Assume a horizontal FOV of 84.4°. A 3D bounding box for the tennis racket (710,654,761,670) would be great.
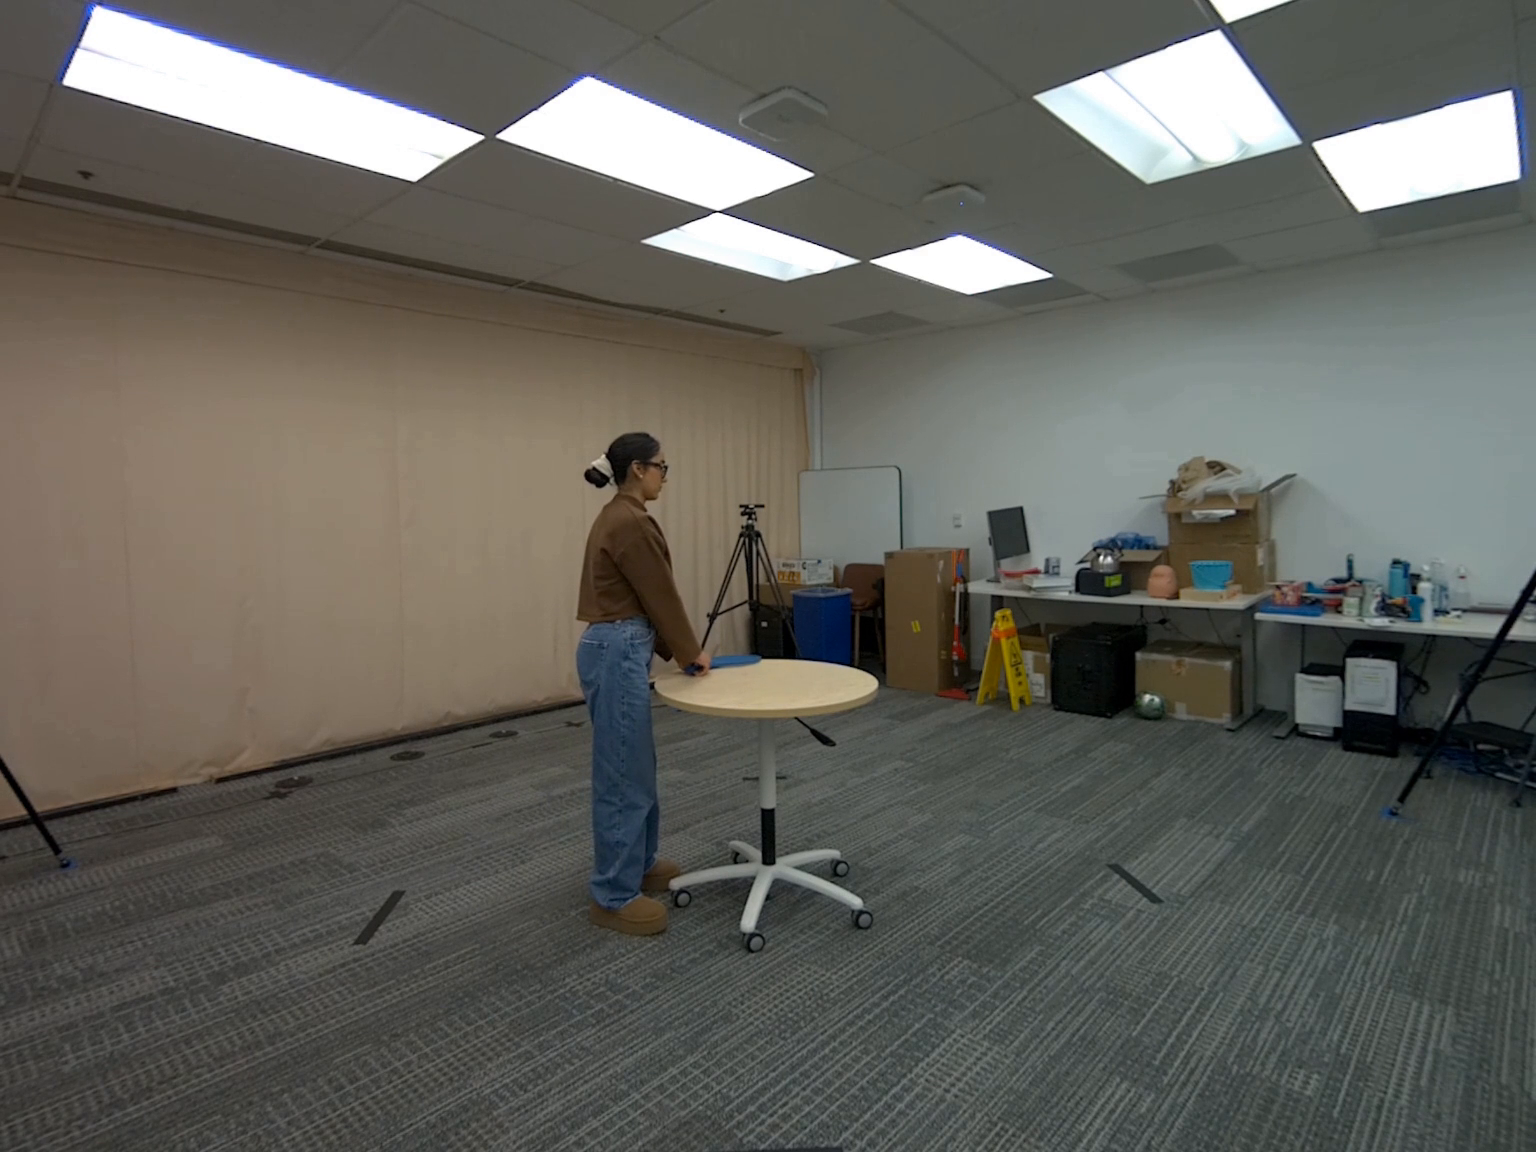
[{"bbox_3d":[-0.190,0.339,3.209,0.221,0.032,0.420,1,4,44],"label":"tennis racket"}]
